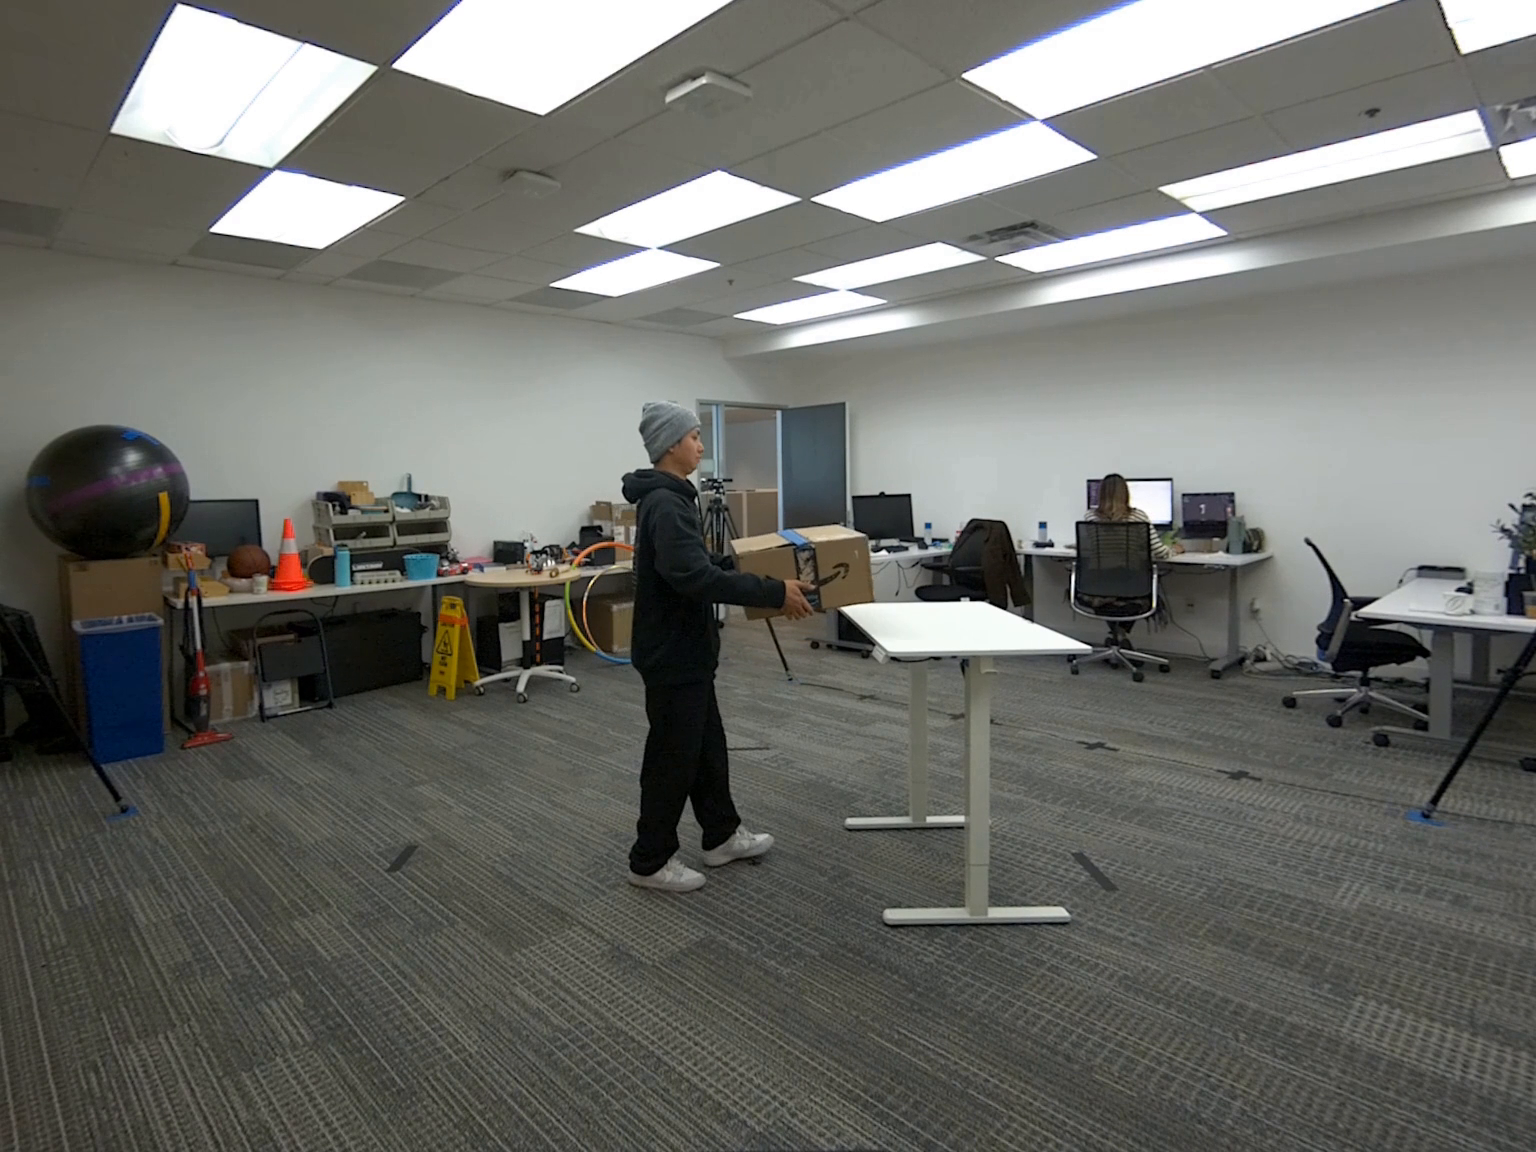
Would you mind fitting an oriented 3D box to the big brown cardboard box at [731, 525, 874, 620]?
[{"bbox_3d":[0.099,-0.028,2.963,0.417,0.232,0.592,-7,6,-2],"label":"big brown cardboard box"}]
